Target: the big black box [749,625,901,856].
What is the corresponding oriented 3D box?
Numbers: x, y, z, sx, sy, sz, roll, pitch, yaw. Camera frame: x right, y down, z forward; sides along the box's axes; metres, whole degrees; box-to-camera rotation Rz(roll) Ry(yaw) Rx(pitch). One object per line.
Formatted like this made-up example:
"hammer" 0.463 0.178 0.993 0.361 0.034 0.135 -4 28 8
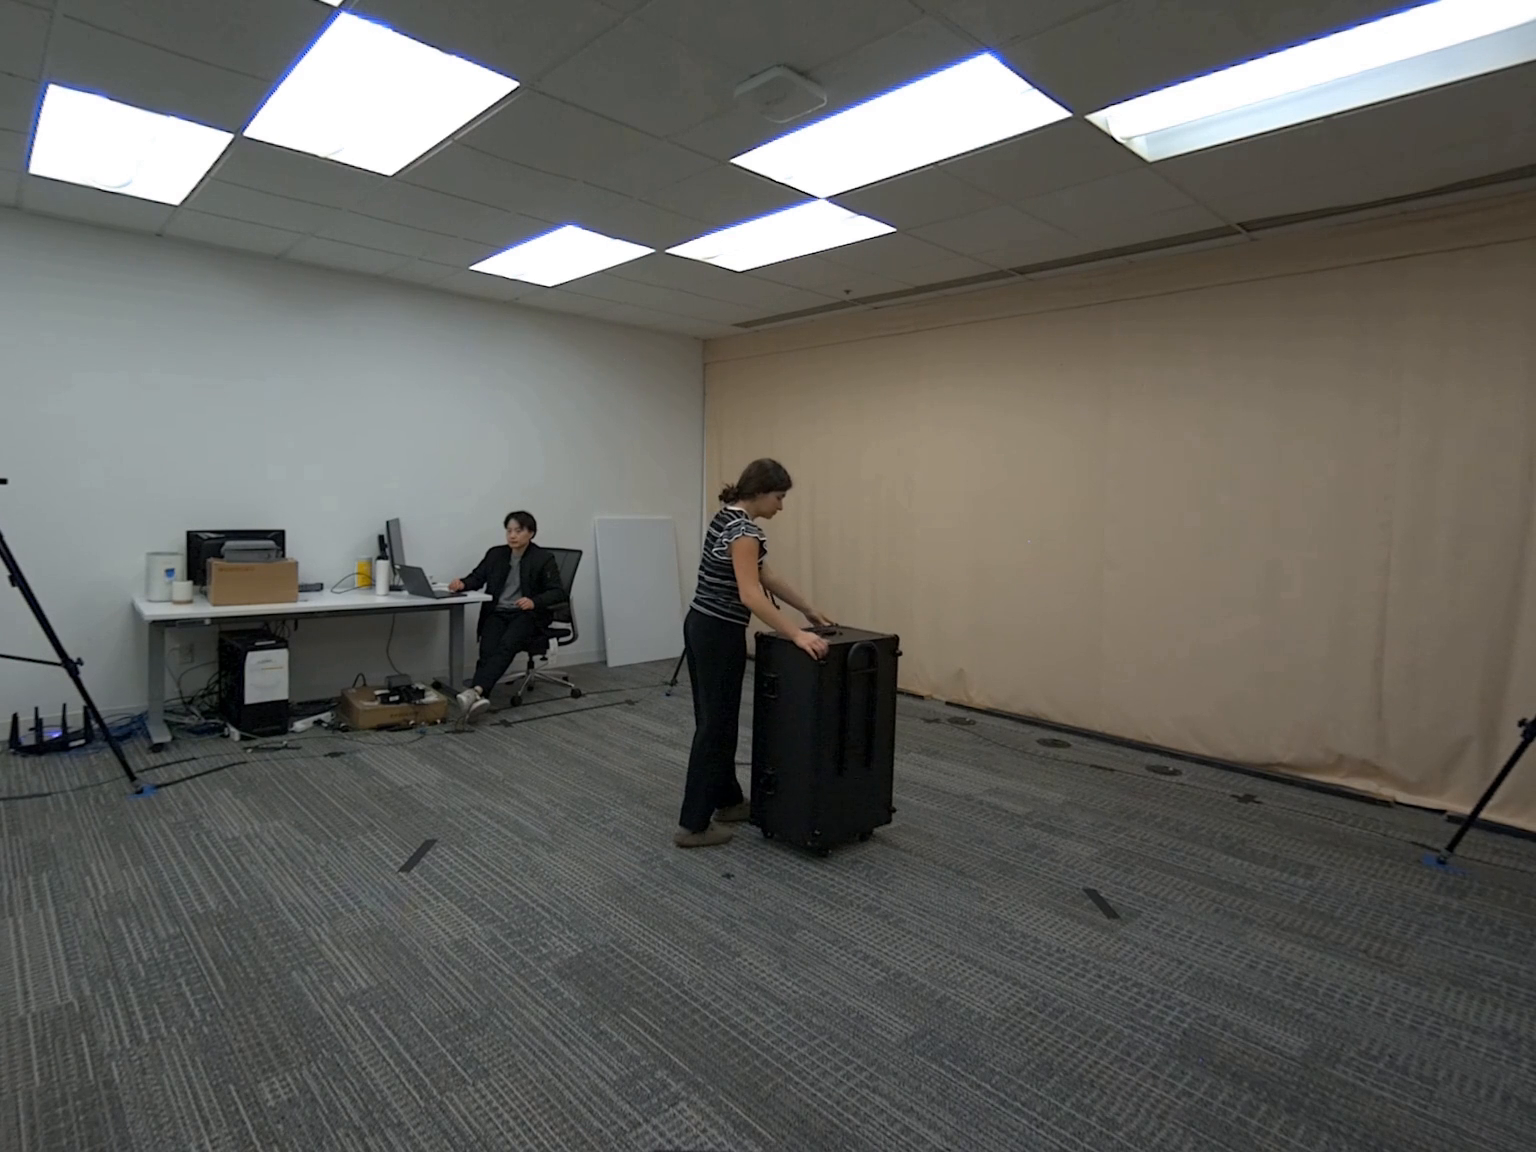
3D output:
"big black box" 0.237 0.665 3.432 0.509 0.859 0.406 -1 5 -42
